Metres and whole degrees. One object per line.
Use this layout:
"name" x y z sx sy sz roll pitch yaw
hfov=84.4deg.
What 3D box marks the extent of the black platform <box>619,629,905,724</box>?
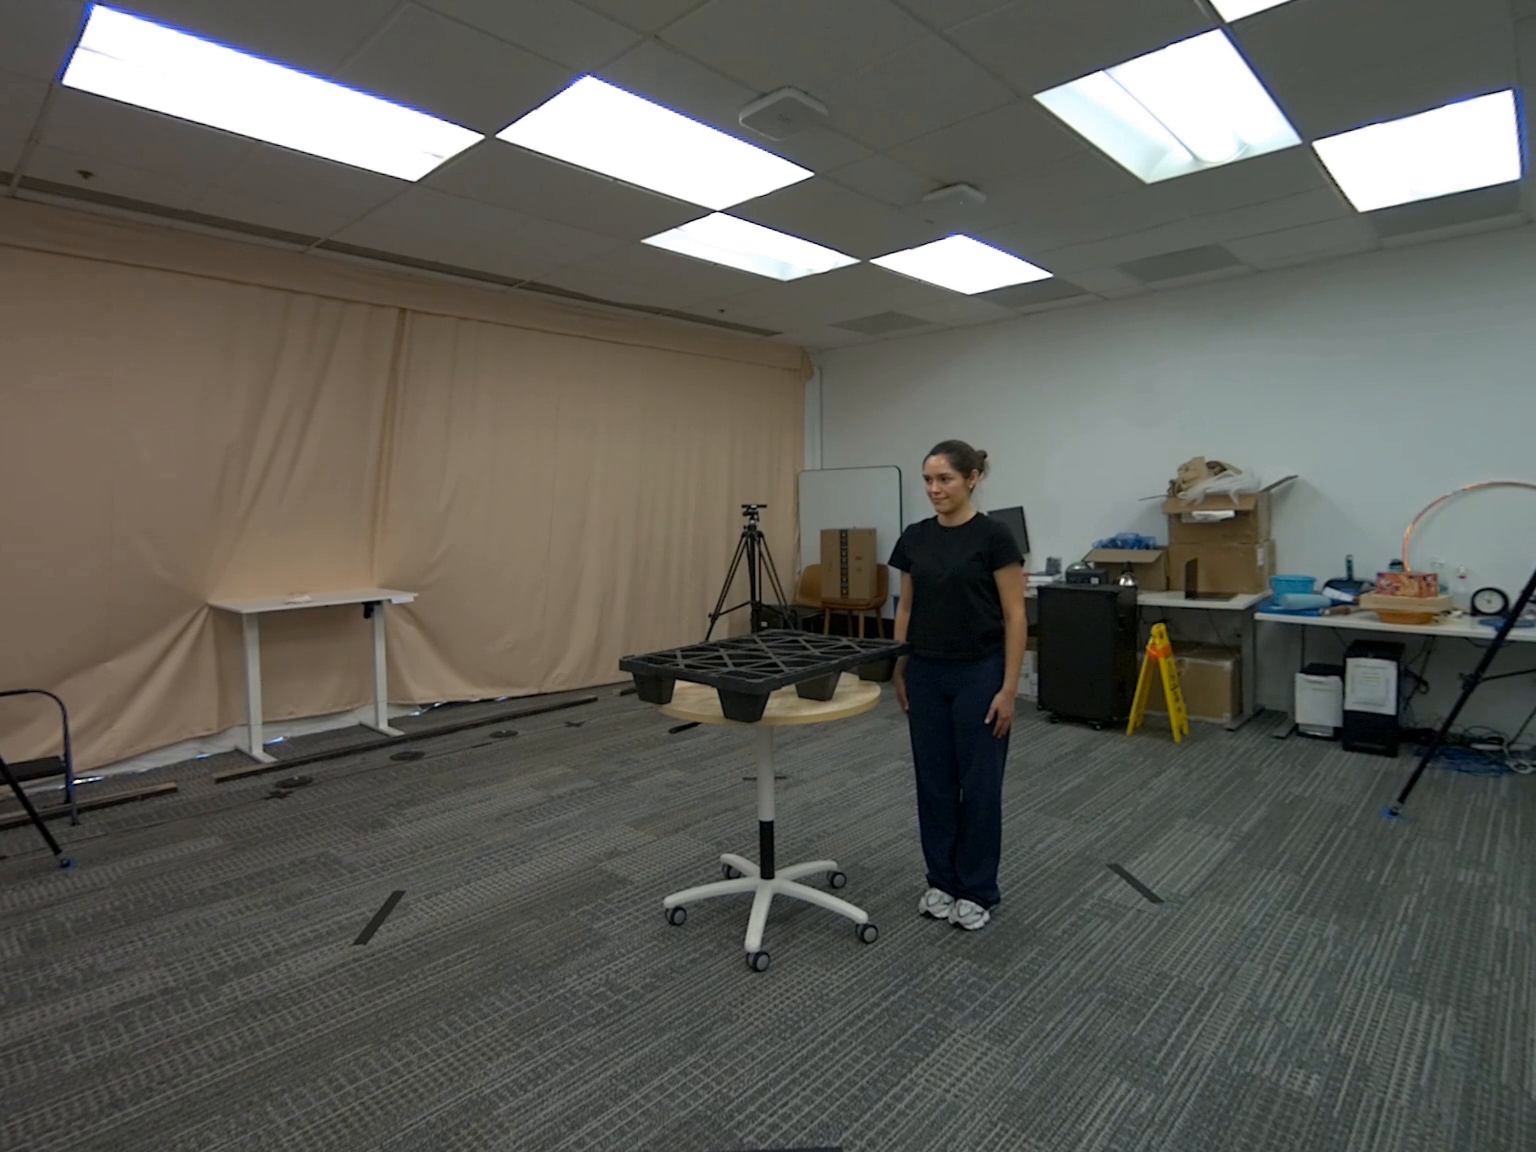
"black platform" 0.029 0.316 2.762 0.625 0.143 0.781 3 6 42
